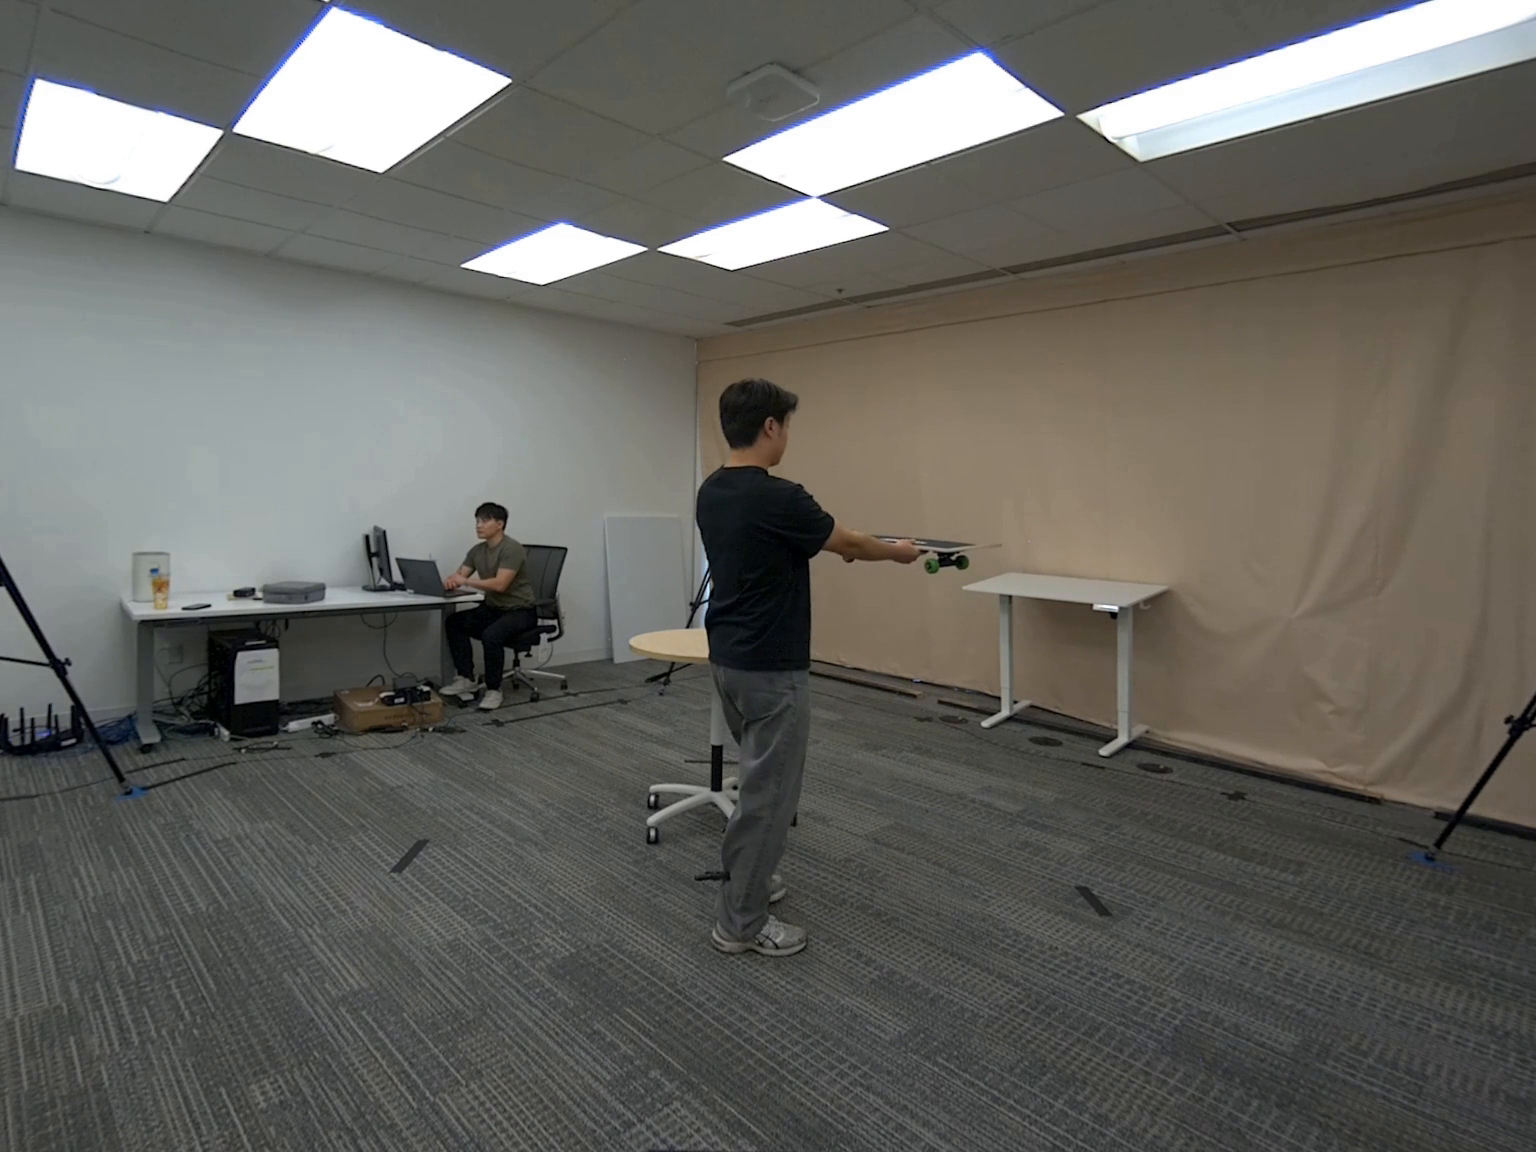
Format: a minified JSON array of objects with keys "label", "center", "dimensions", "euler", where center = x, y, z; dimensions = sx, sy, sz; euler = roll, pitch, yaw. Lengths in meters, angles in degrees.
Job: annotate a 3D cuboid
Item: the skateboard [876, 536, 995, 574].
[{"label":"skateboard","center":[0.476,-0.092,2.986],"dimensions":[0.189,0.110,0.806],"euler":[-7,10,-36]}]
